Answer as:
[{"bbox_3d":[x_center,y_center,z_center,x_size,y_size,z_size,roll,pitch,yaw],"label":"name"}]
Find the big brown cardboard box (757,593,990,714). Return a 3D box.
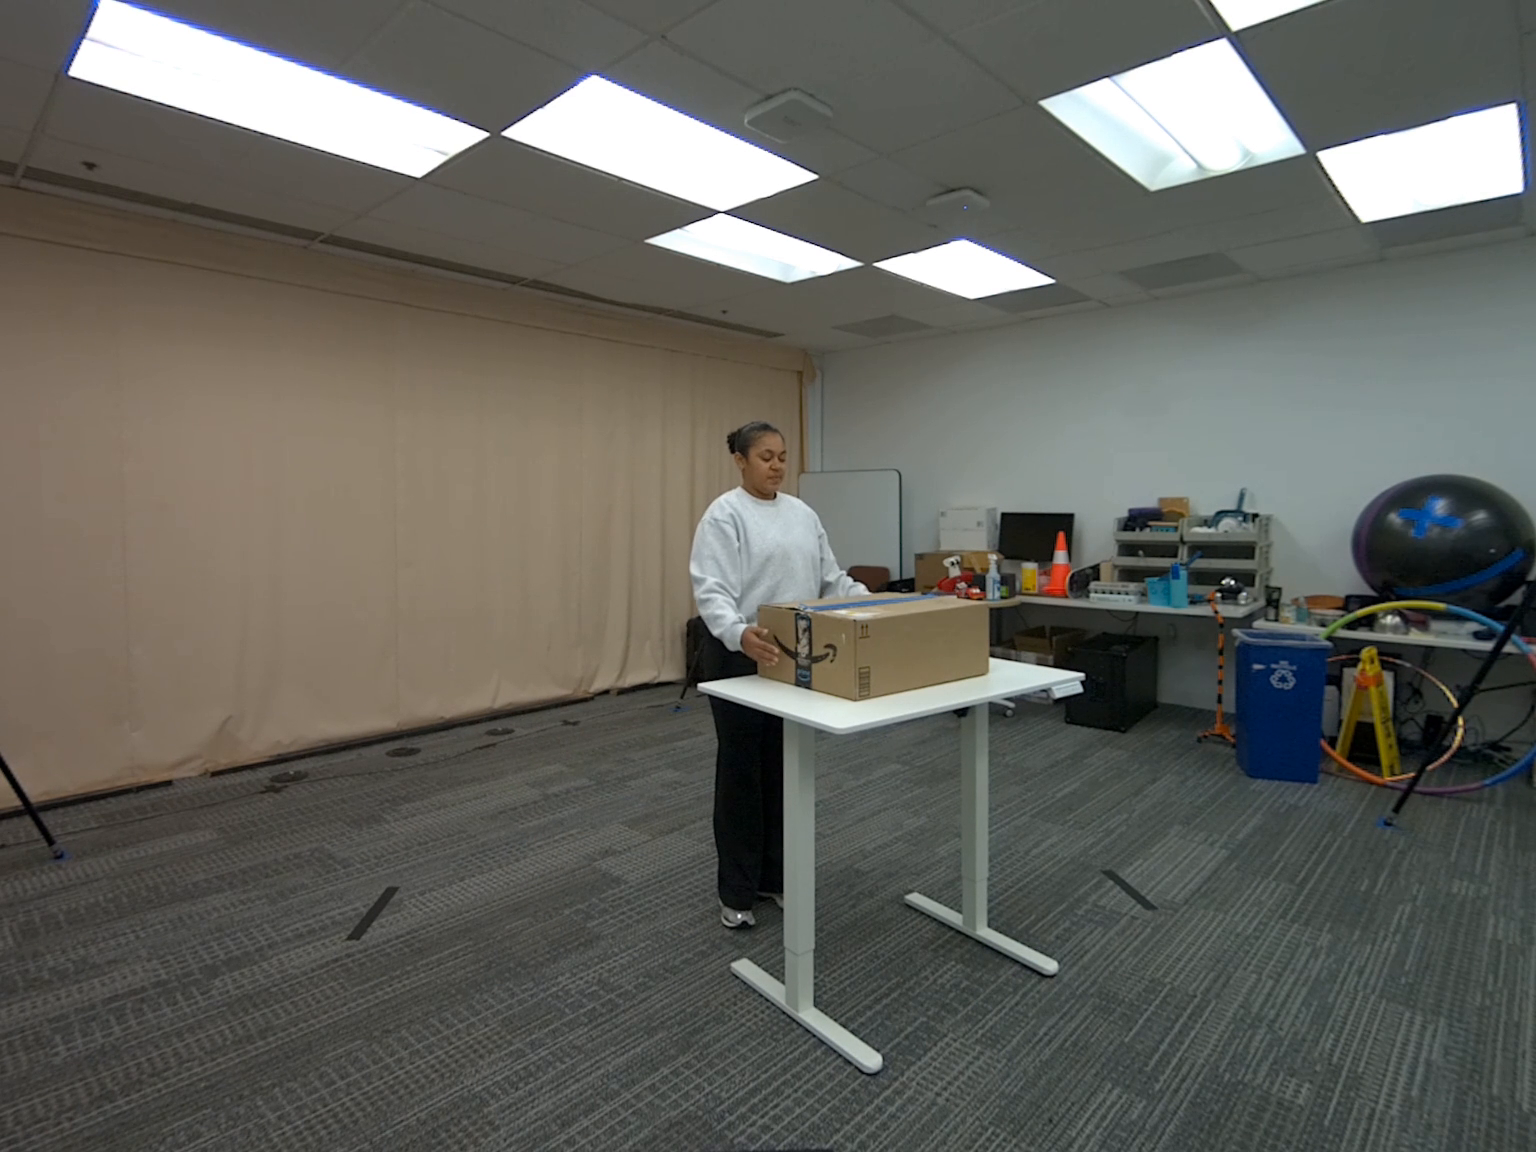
[{"bbox_3d":[0.320,0.191,2.513,0.571,0.233,0.431,-3,5,-38],"label":"big brown cardboard box"}]
